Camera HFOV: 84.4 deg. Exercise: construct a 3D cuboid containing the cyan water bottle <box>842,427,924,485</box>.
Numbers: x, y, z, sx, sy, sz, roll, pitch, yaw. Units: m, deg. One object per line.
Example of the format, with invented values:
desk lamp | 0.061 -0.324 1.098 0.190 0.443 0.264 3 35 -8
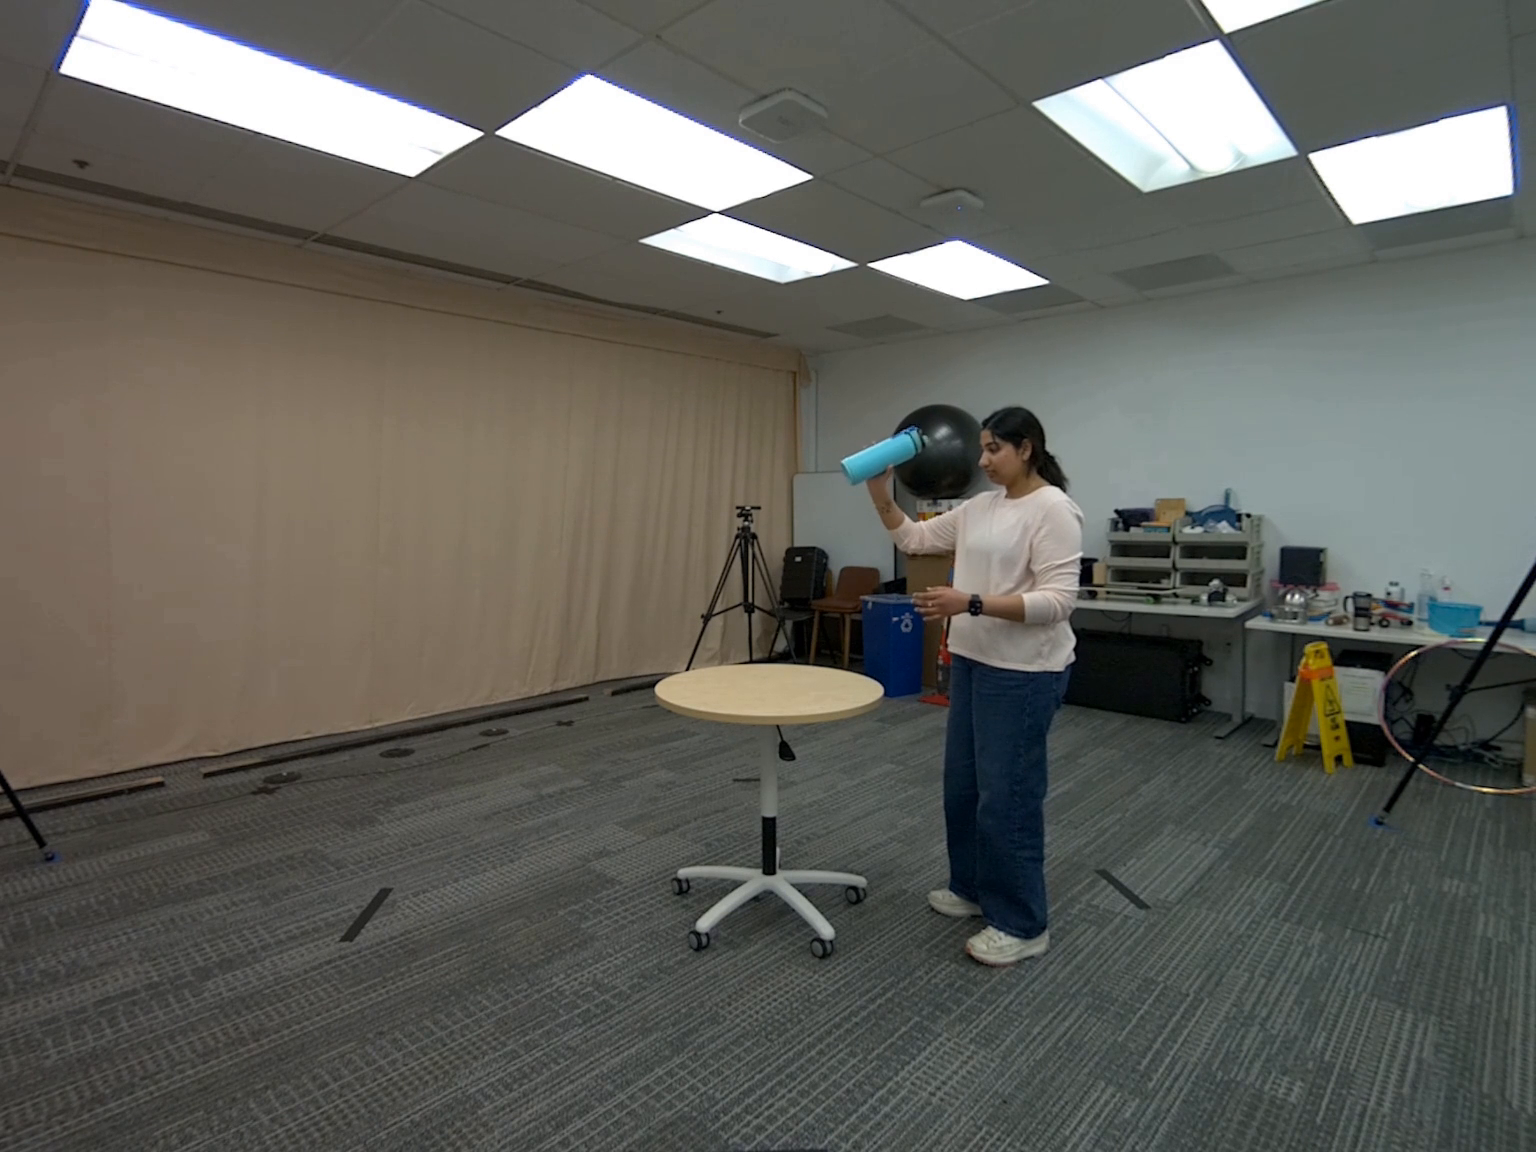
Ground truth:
cyan water bottle | 0.385 -0.384 2.698 0.283 0.092 0.093 -26 6 -3
